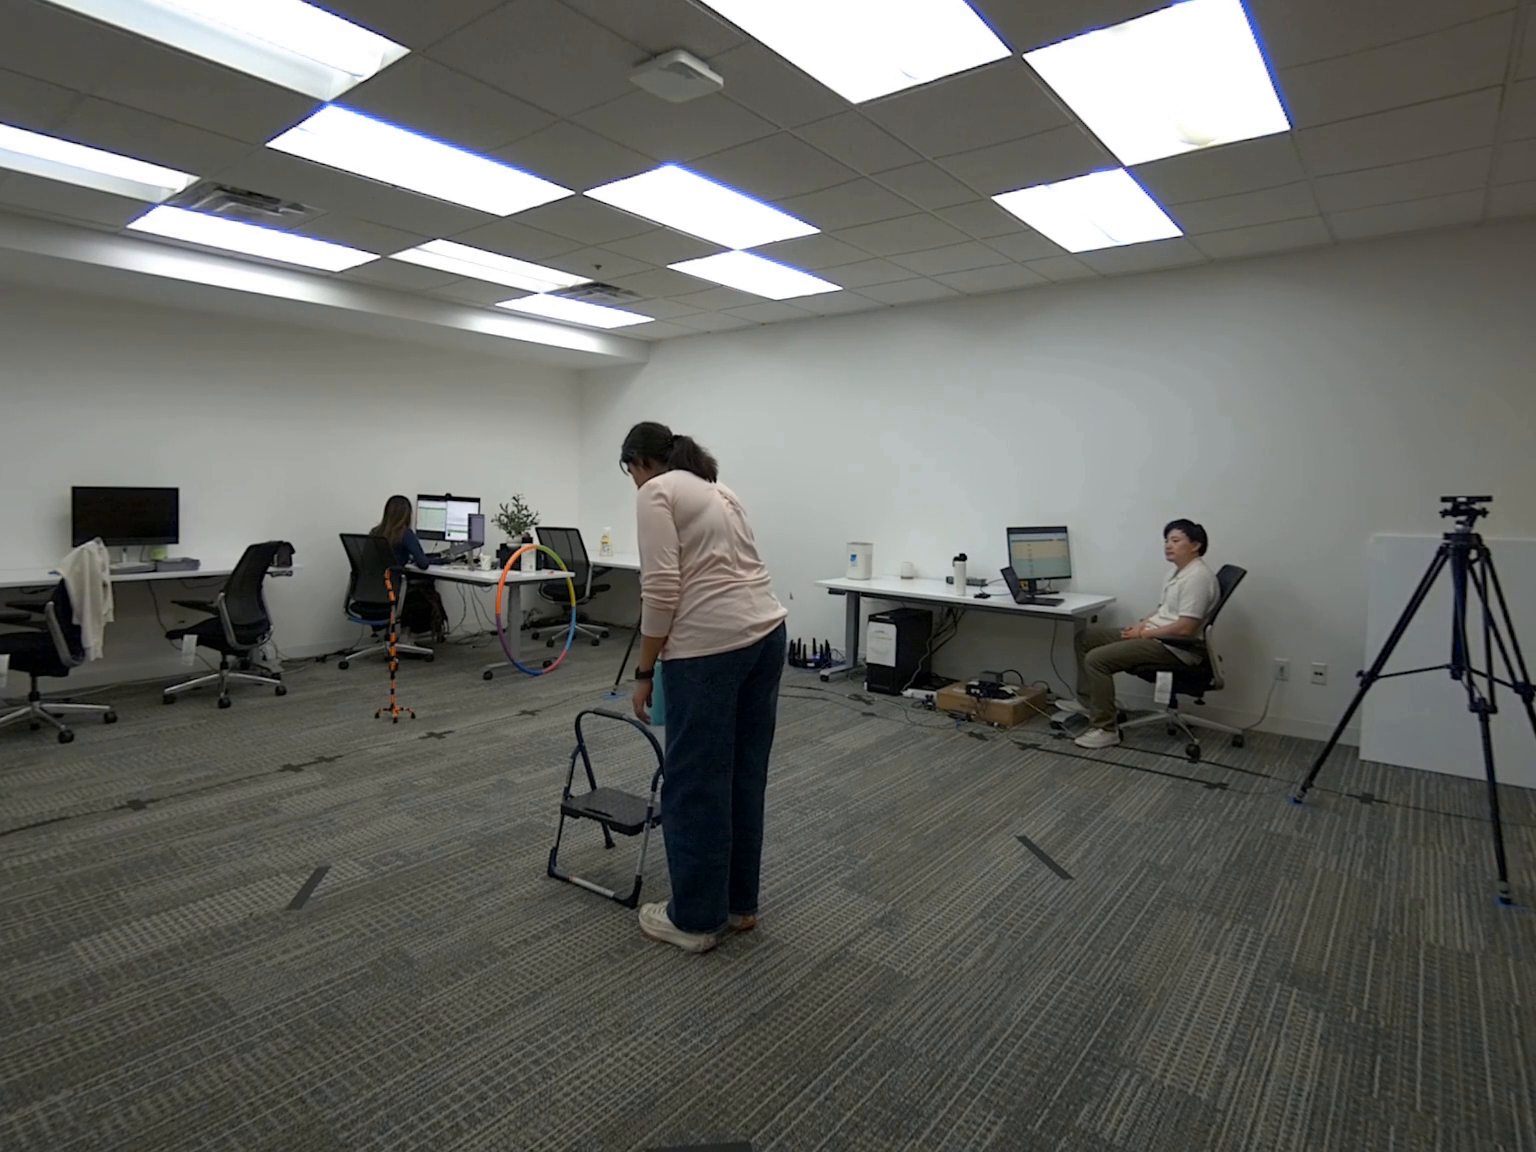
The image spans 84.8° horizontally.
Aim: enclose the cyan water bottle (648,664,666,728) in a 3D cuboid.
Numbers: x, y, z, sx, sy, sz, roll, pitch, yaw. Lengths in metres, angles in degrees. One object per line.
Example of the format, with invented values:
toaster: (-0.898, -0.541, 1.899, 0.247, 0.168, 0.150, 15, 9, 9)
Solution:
cyan water bottle: (-0.385, 0.382, 3.006, 0.092, 0.283, 0.092, 4, 1, -2)
